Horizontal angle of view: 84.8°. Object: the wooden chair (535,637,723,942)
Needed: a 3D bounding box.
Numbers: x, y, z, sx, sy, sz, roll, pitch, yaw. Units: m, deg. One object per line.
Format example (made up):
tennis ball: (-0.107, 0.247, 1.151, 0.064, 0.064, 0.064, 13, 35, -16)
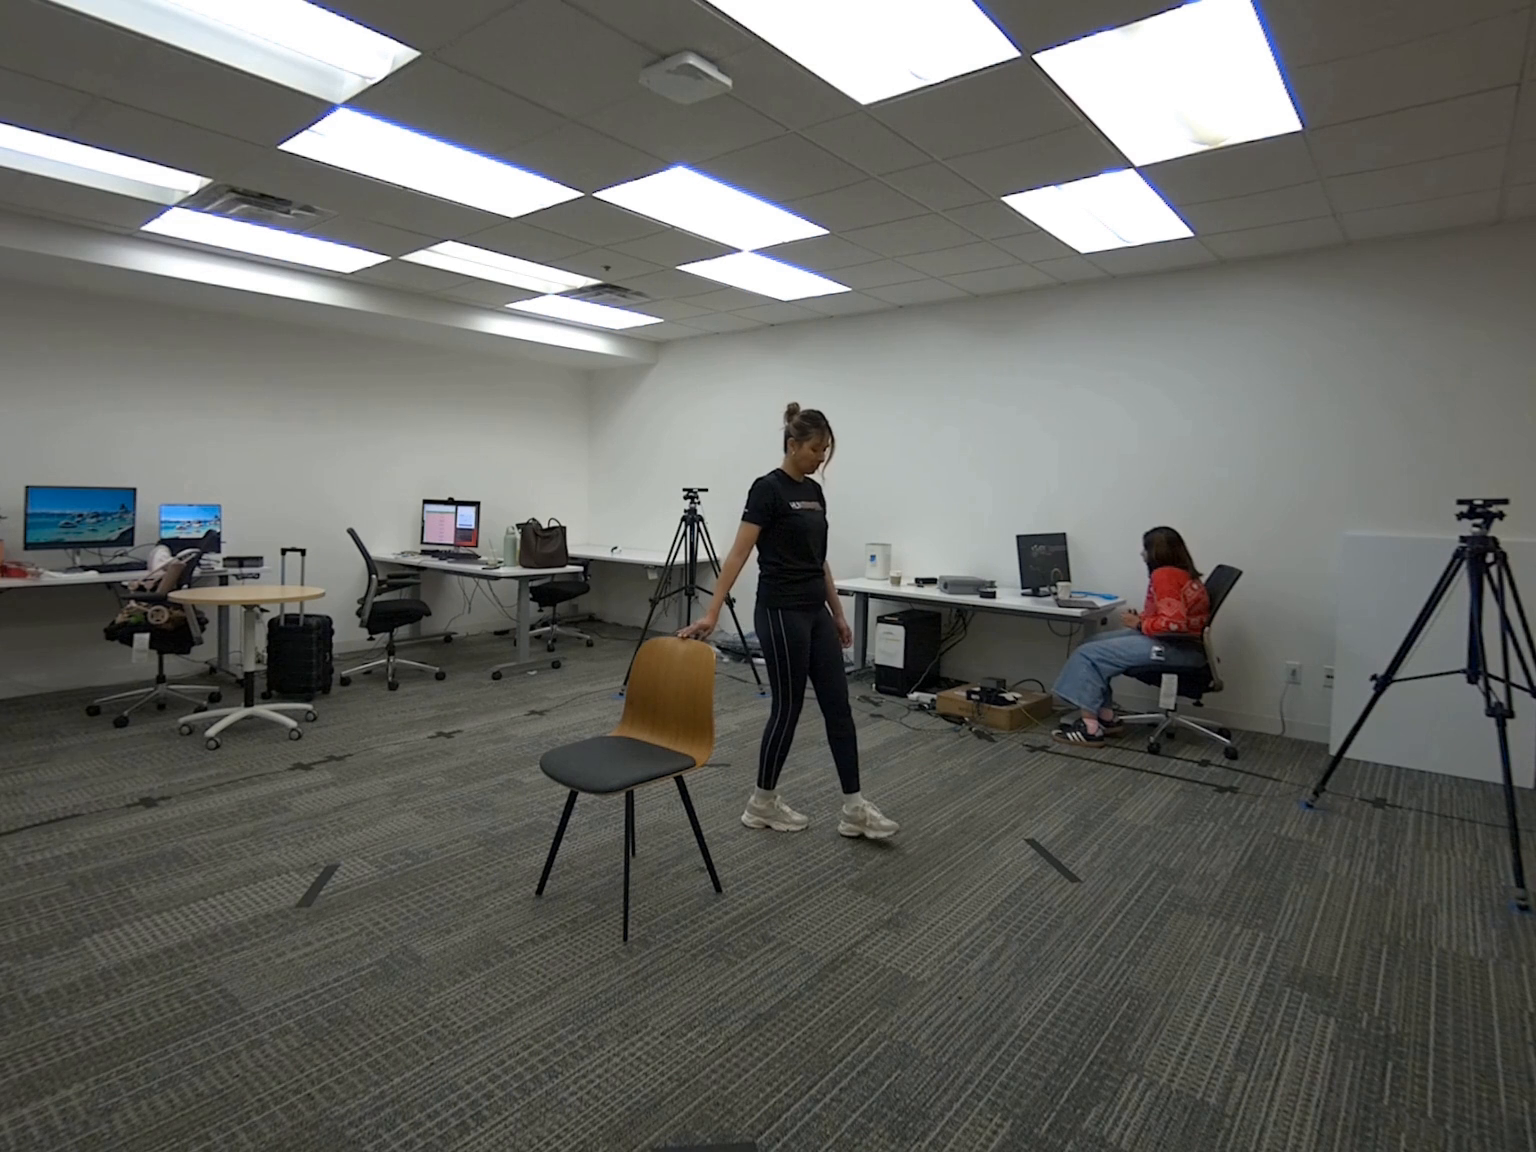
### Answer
wooden chair: (-0.478, 0.660, 2.875, 0.494, 0.878, 0.506, 4, 0, 39)
